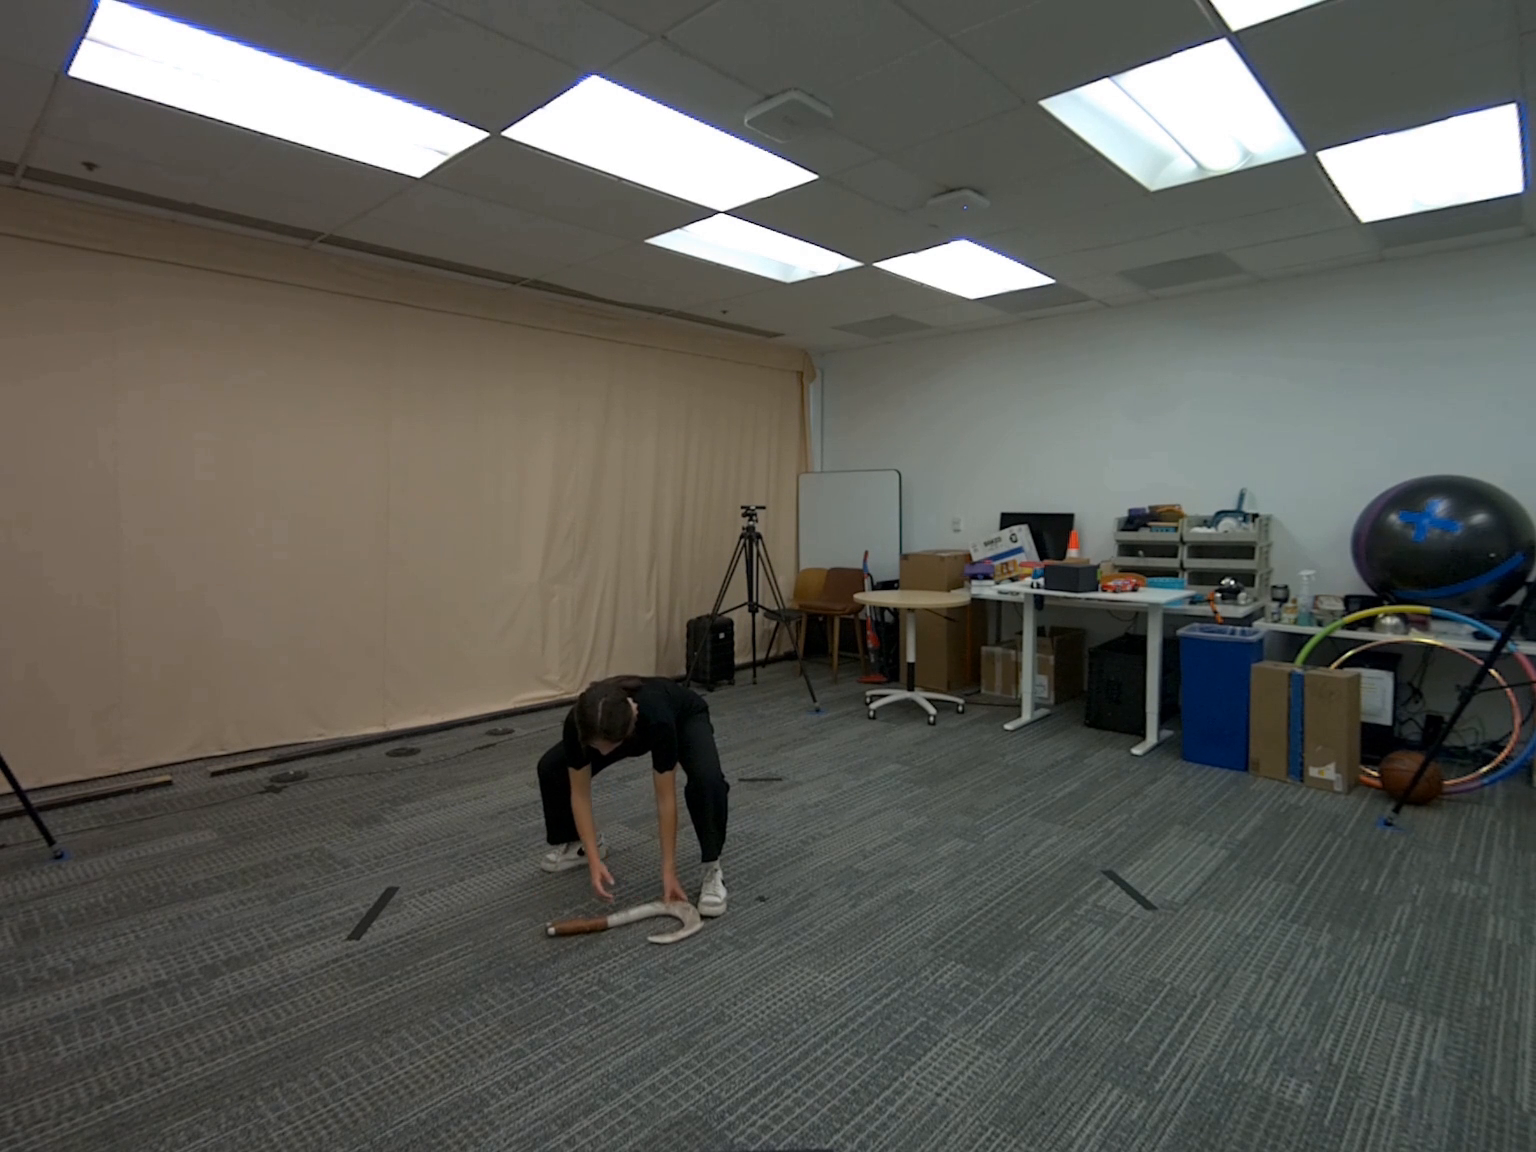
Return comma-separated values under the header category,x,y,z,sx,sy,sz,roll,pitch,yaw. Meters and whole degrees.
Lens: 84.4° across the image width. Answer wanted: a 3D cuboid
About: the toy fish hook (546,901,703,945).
category,x,y,z,sx,sy,sz,roll,pitch,yaw
toy fish hook,-0.472,1.148,2.740,0.498,0.048,0.229,-2,4,-16
